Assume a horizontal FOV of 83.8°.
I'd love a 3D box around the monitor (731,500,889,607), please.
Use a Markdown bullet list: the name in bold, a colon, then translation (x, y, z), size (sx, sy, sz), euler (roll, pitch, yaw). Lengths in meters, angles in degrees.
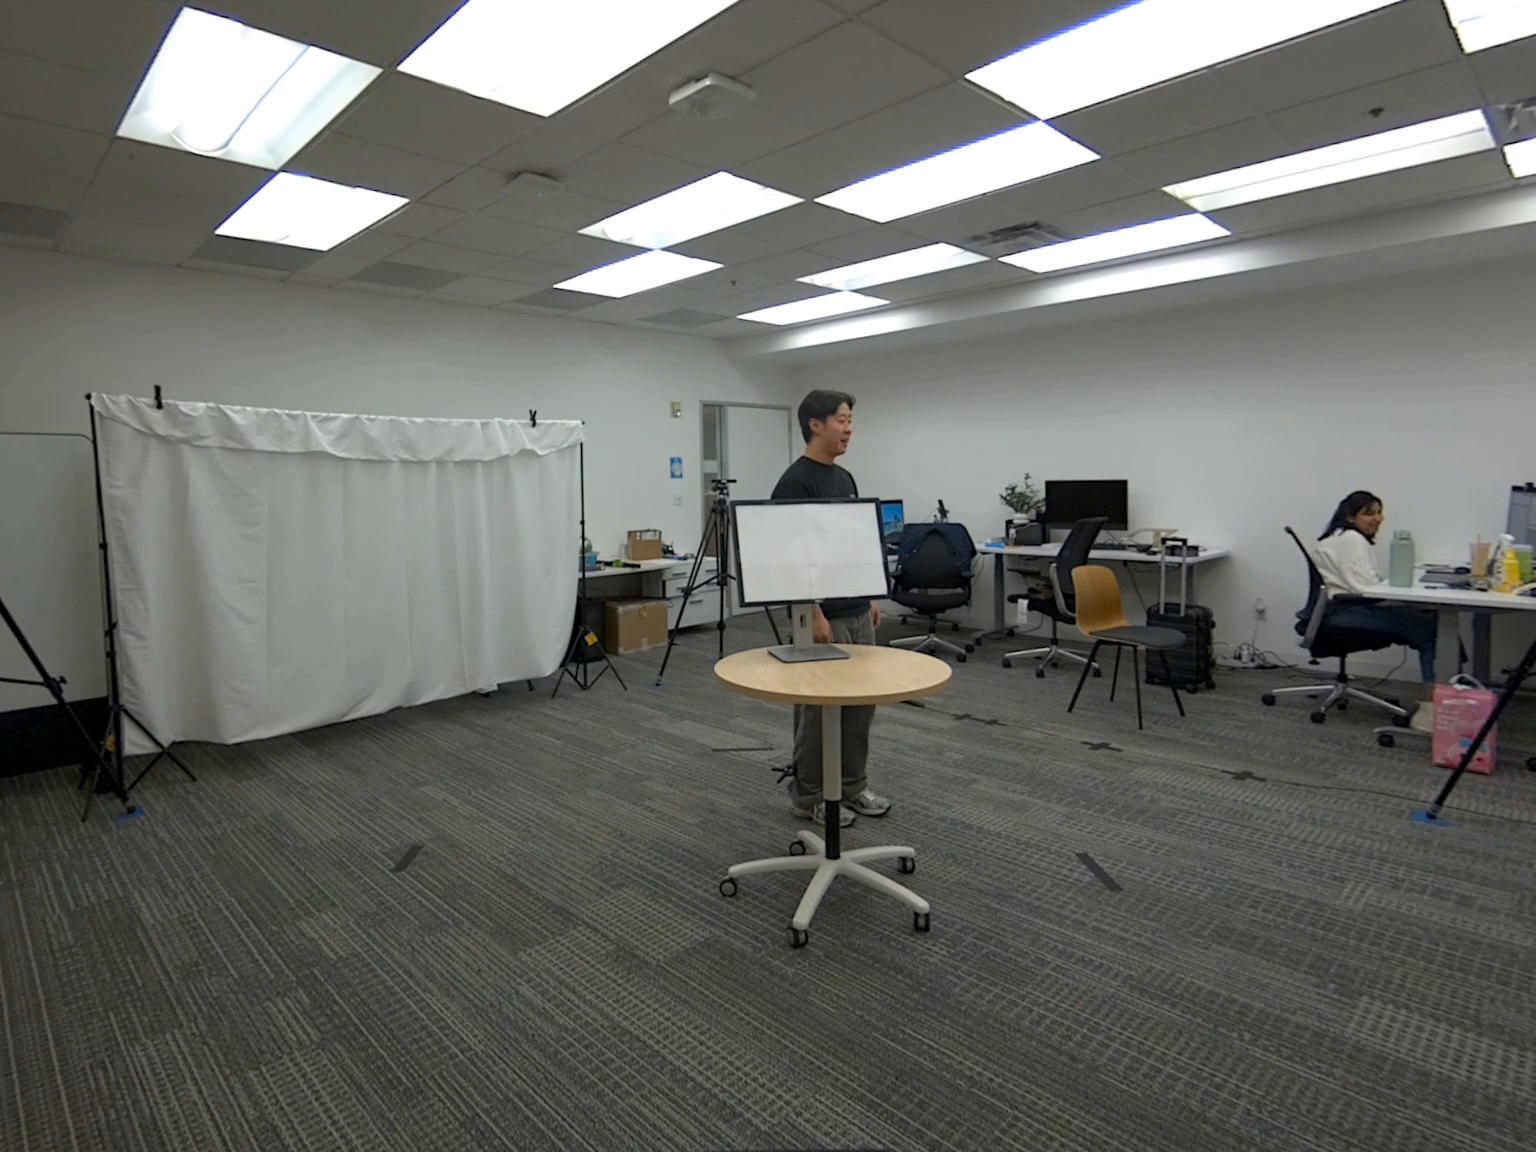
- **monitor**: translation (0.133, 0.017, 2.963), size (0.553, 0.564, 0.226), euler (-3, 5, -16)
